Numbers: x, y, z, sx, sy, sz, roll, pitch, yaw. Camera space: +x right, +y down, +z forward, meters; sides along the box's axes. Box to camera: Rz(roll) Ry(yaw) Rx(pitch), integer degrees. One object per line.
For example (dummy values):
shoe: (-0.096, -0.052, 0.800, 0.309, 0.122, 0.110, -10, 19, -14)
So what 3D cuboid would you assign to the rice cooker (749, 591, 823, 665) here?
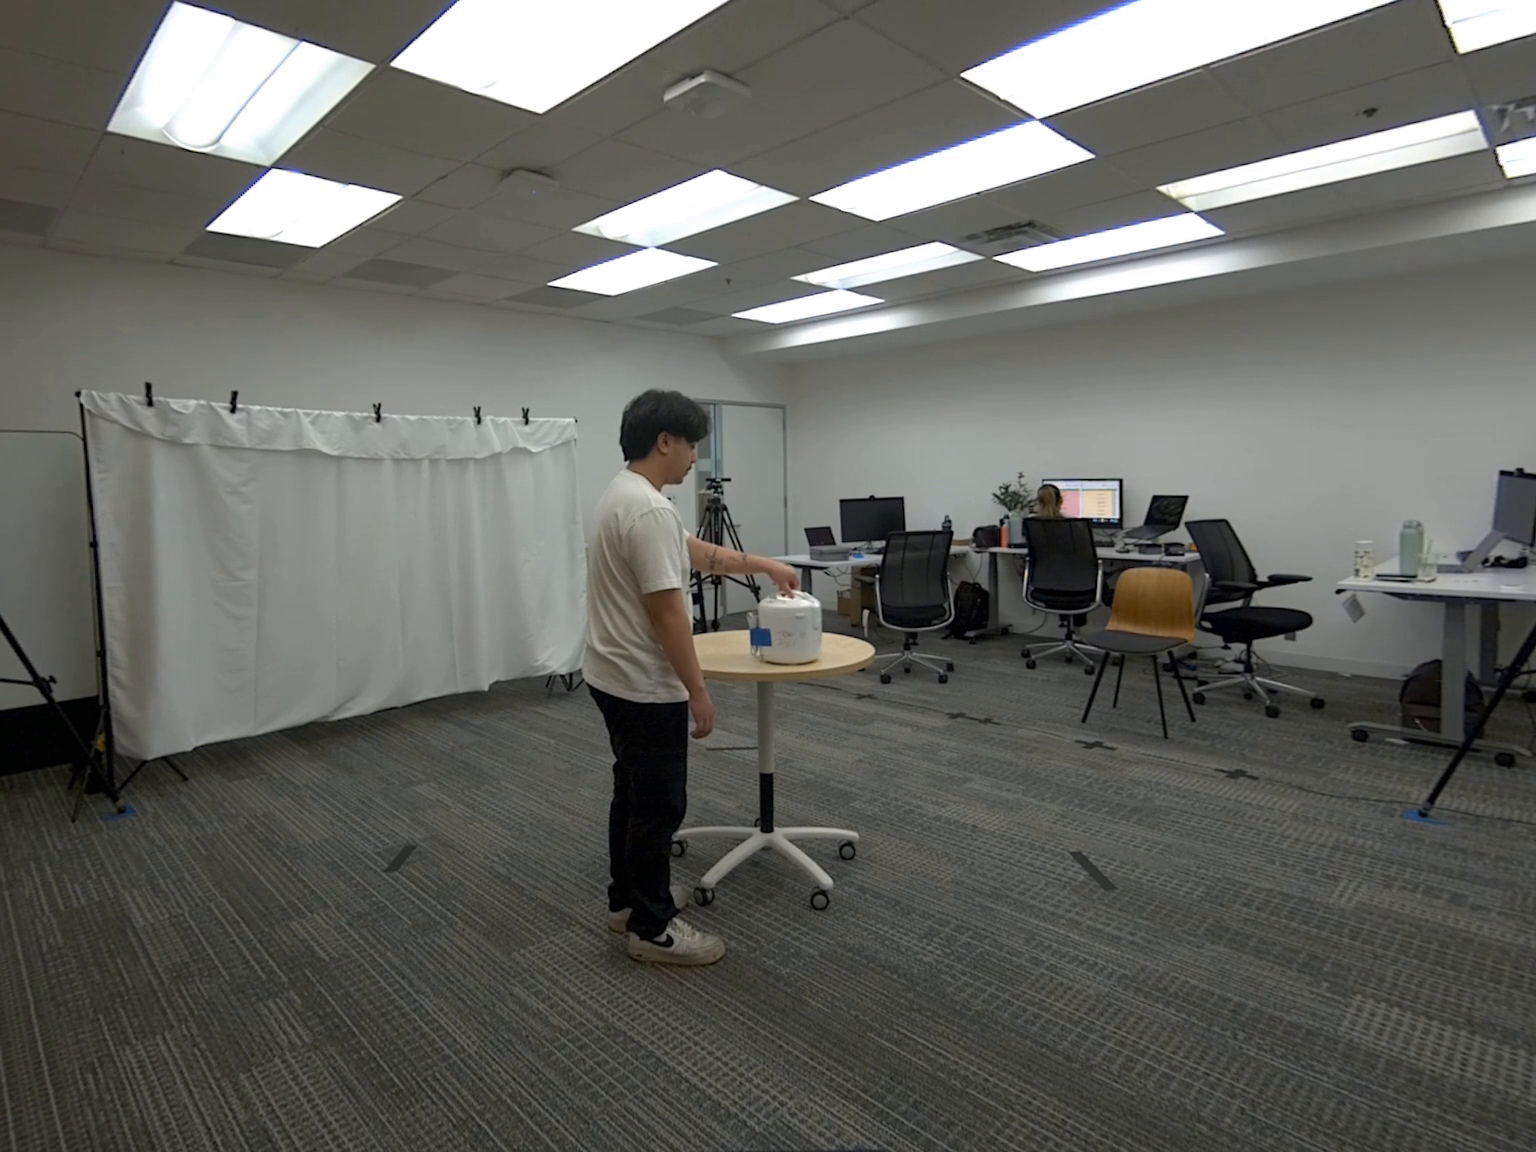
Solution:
rice cooker: (0.072, 0.160, 2.806, 0.227, 0.232, 0.212, 3, 7, 36)
